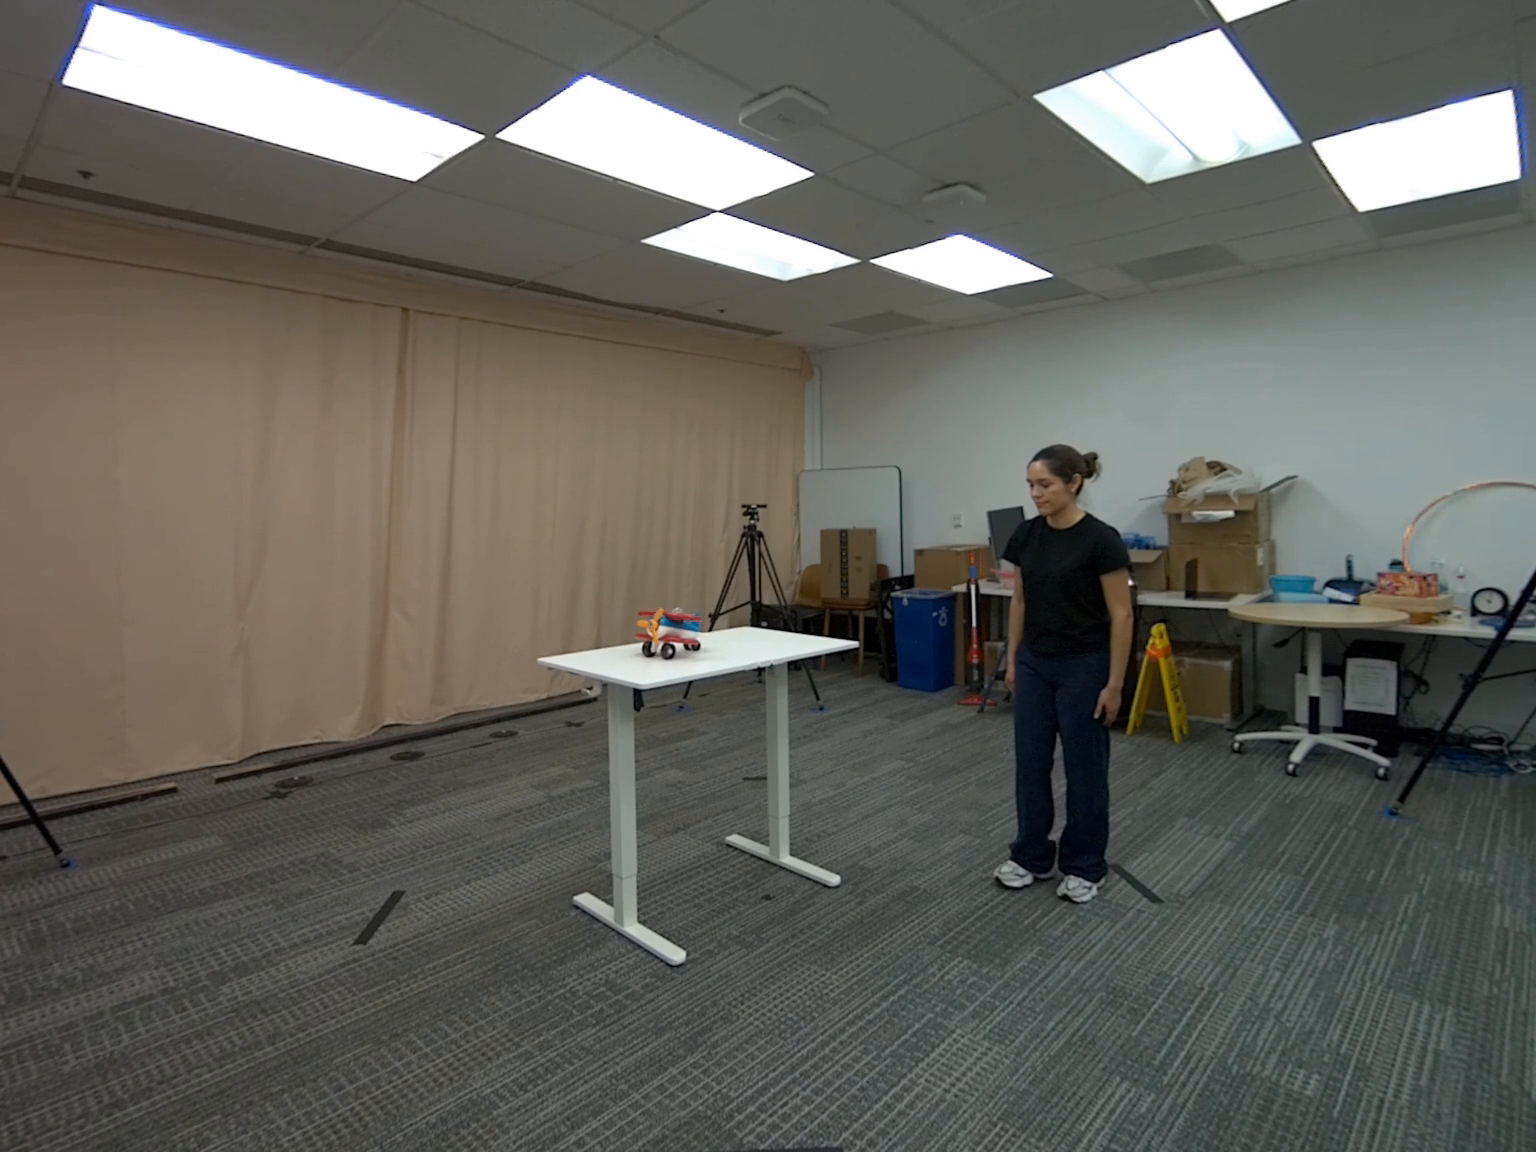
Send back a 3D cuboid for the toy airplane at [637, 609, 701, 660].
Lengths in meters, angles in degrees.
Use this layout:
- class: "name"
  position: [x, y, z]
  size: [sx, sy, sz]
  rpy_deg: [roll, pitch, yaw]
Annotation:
- class: "toy airplane"
  position: [-0.322, 0.196, 2.914]
  size: [0.253, 0.156, 0.257]
  rpy_deg: [-1, 4, 8]
